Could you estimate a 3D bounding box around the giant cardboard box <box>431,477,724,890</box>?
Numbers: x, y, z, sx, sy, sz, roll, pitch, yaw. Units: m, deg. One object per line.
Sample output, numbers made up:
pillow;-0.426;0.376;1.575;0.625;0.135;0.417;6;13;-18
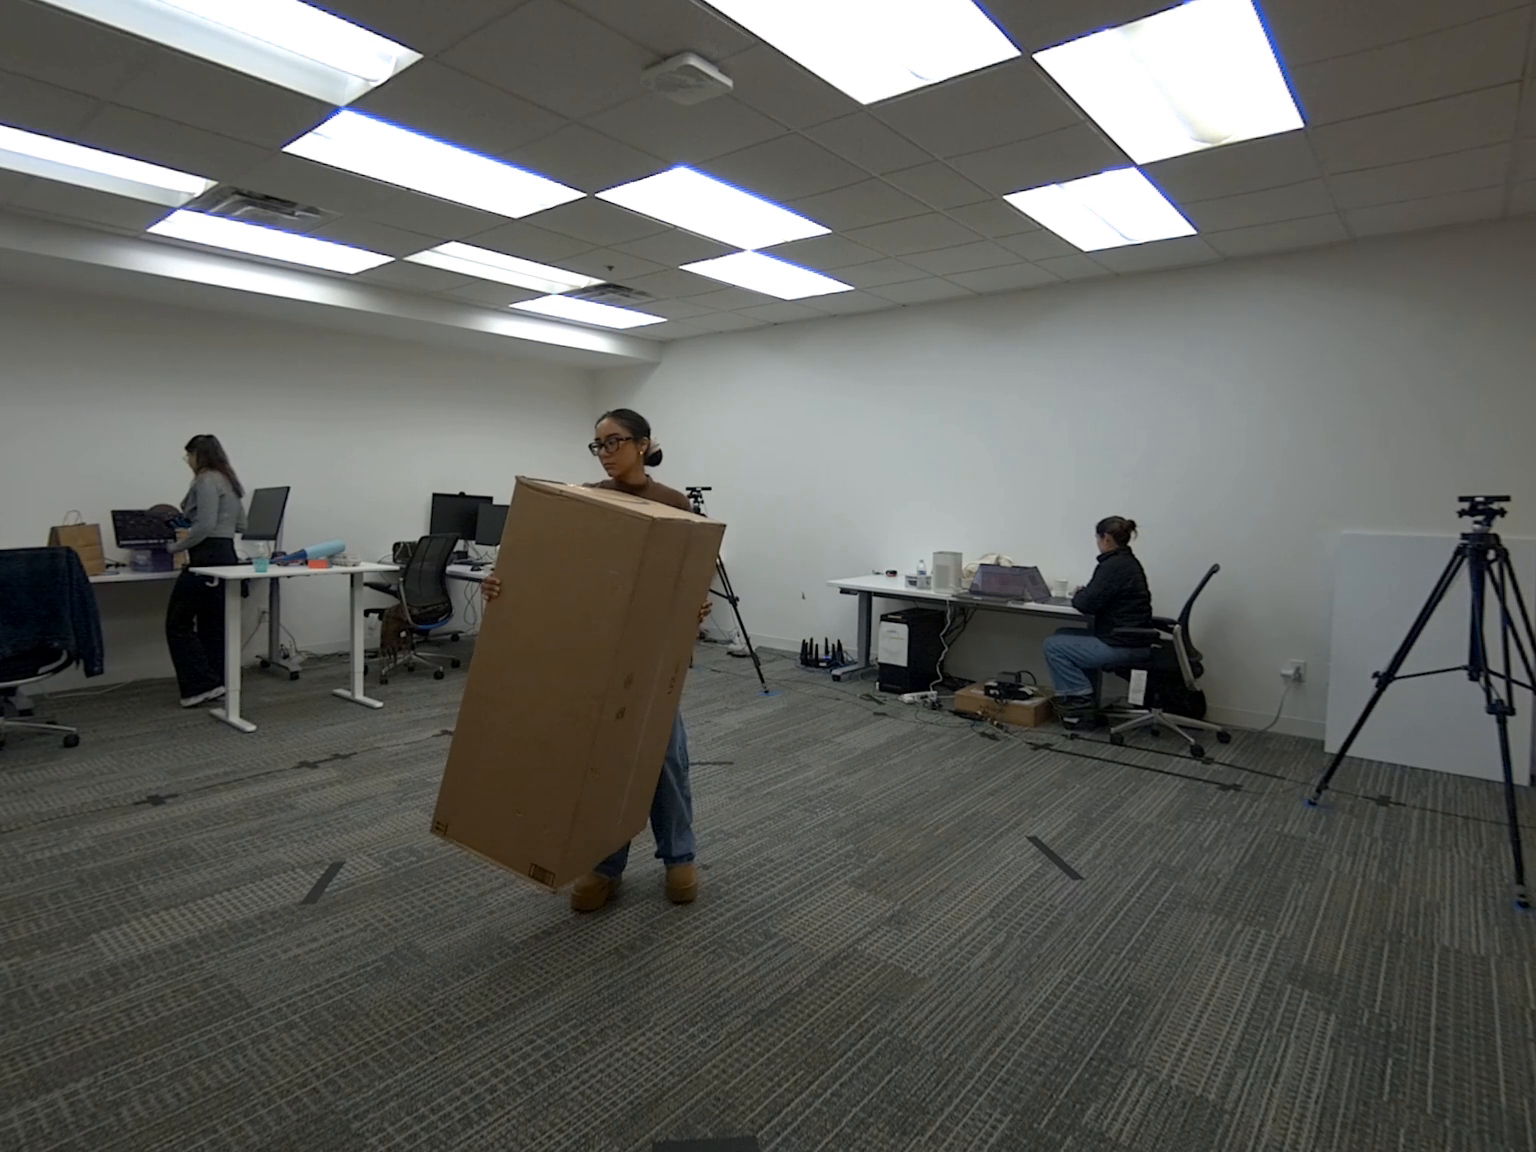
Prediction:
giant cardboard box;-0.544;0.277;2.514;0.436;1.022;0.566;17;5;17
